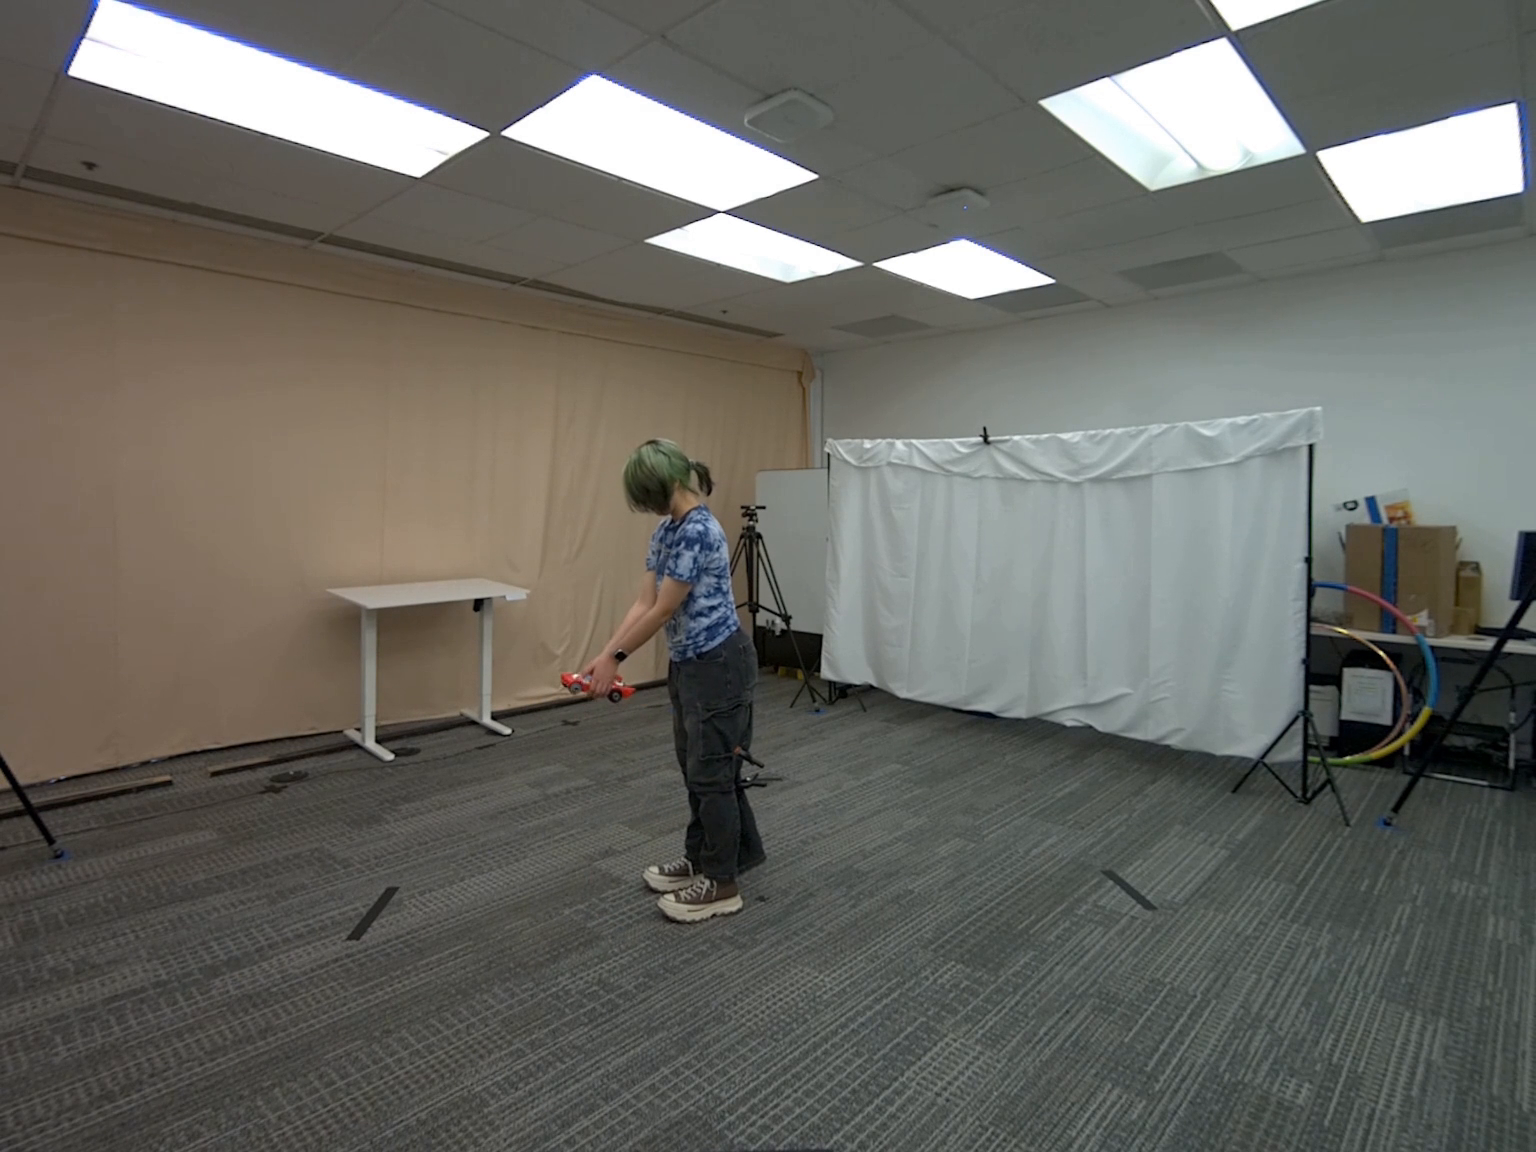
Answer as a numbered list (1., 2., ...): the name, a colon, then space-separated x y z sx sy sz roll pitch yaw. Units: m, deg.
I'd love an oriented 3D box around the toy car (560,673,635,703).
1. toy car: -0.582 0.388 2.896 0.248 0.083 0.134 5 4 -25
